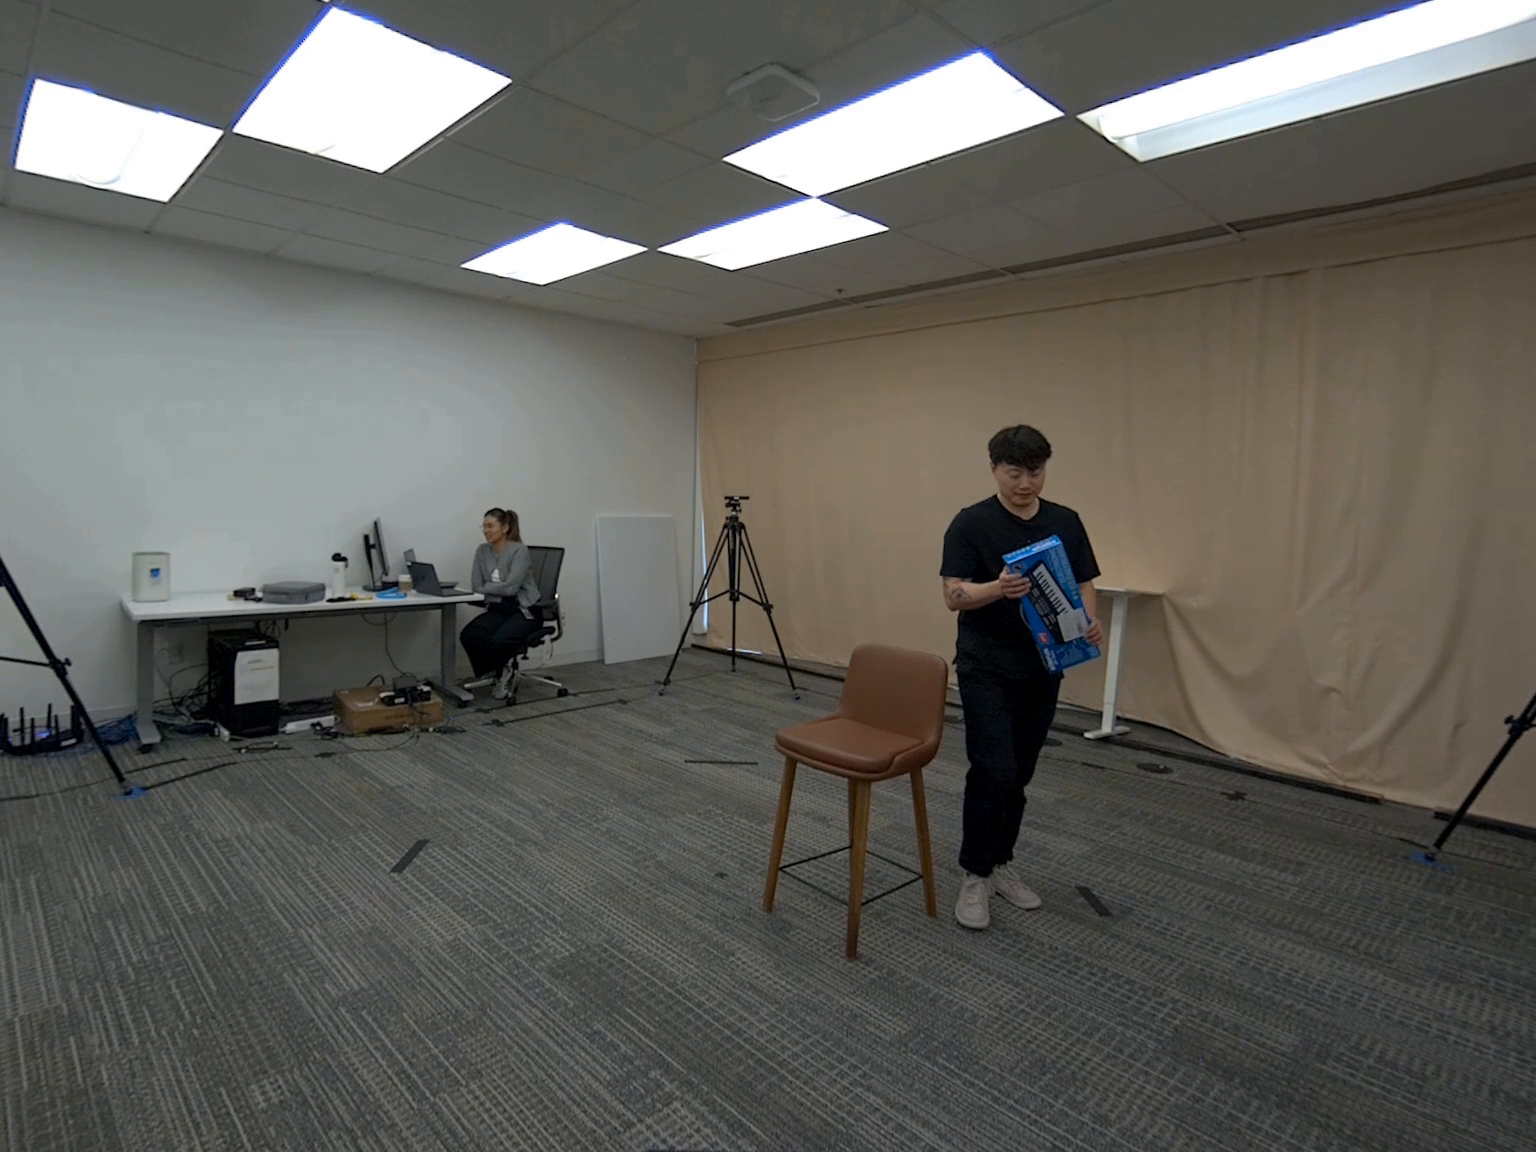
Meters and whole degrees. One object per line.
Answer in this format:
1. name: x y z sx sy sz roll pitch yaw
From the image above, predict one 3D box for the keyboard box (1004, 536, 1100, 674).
1. keyboard box: 0.886 0.097 2.646 0.177 0.428 0.060 -24 22 10
